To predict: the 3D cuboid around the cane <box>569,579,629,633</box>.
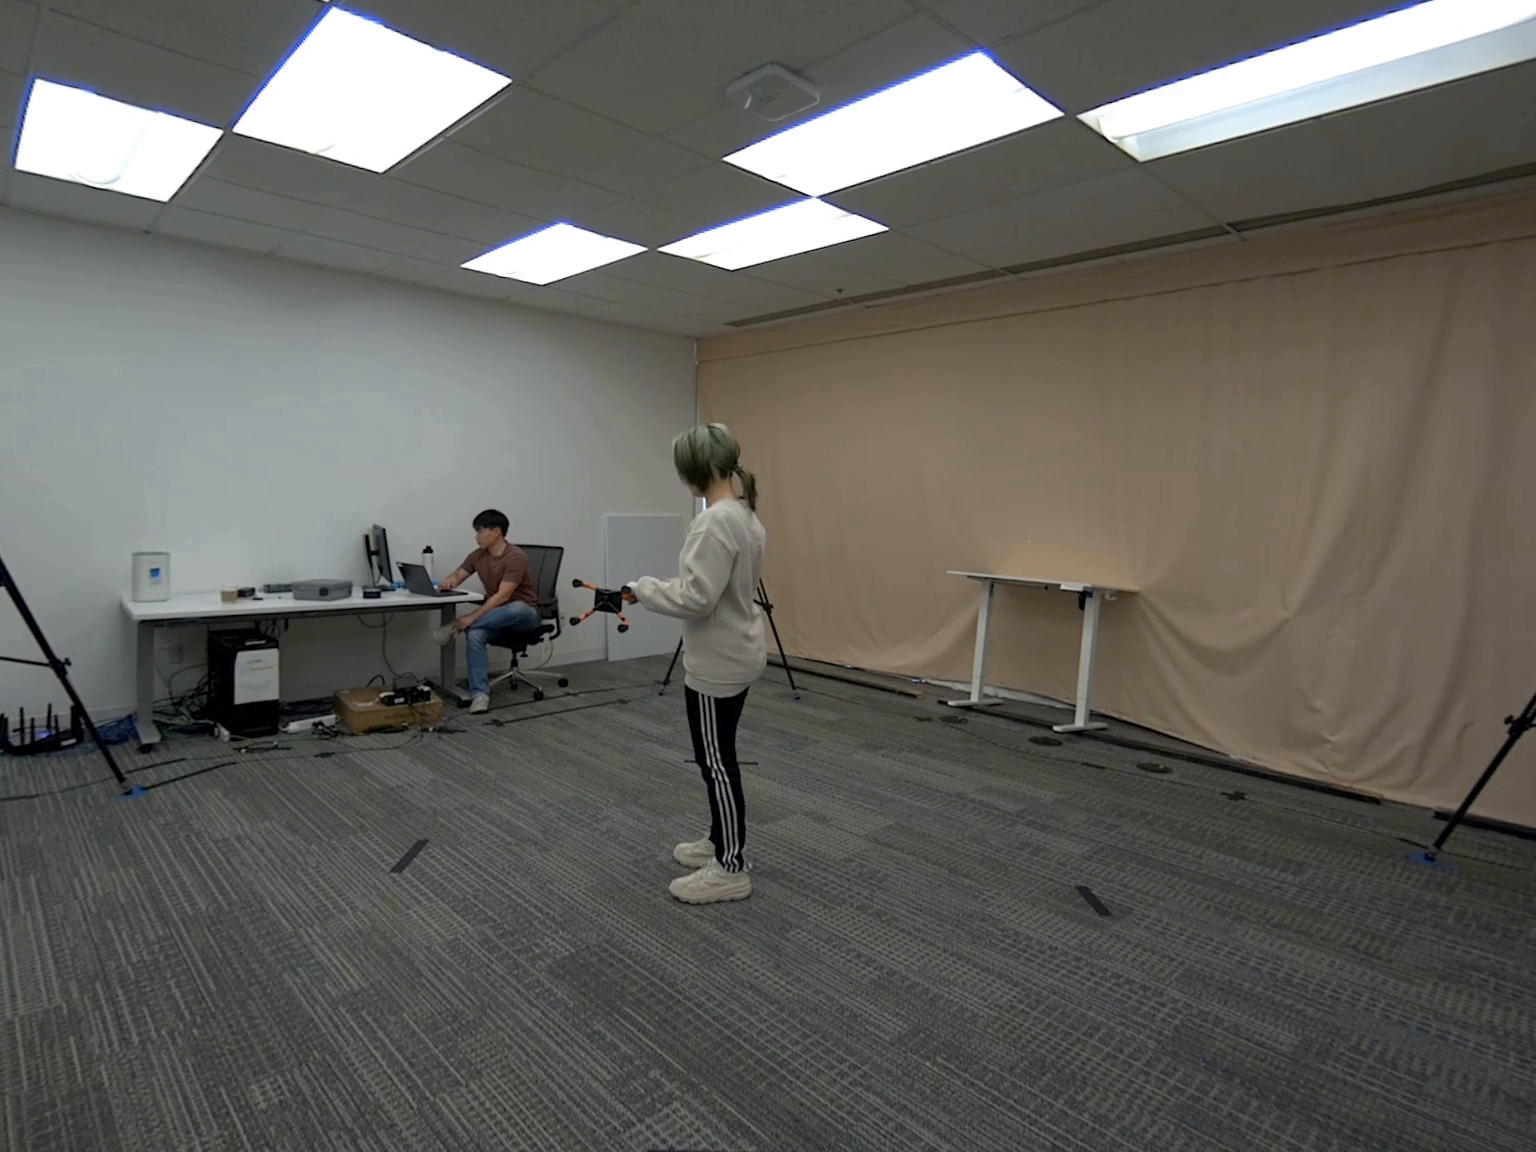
[{"bbox_3d":[-0.411,0.073,3.120,0.210,0.151,0.896,5,5,18],"label":"cane"}]
